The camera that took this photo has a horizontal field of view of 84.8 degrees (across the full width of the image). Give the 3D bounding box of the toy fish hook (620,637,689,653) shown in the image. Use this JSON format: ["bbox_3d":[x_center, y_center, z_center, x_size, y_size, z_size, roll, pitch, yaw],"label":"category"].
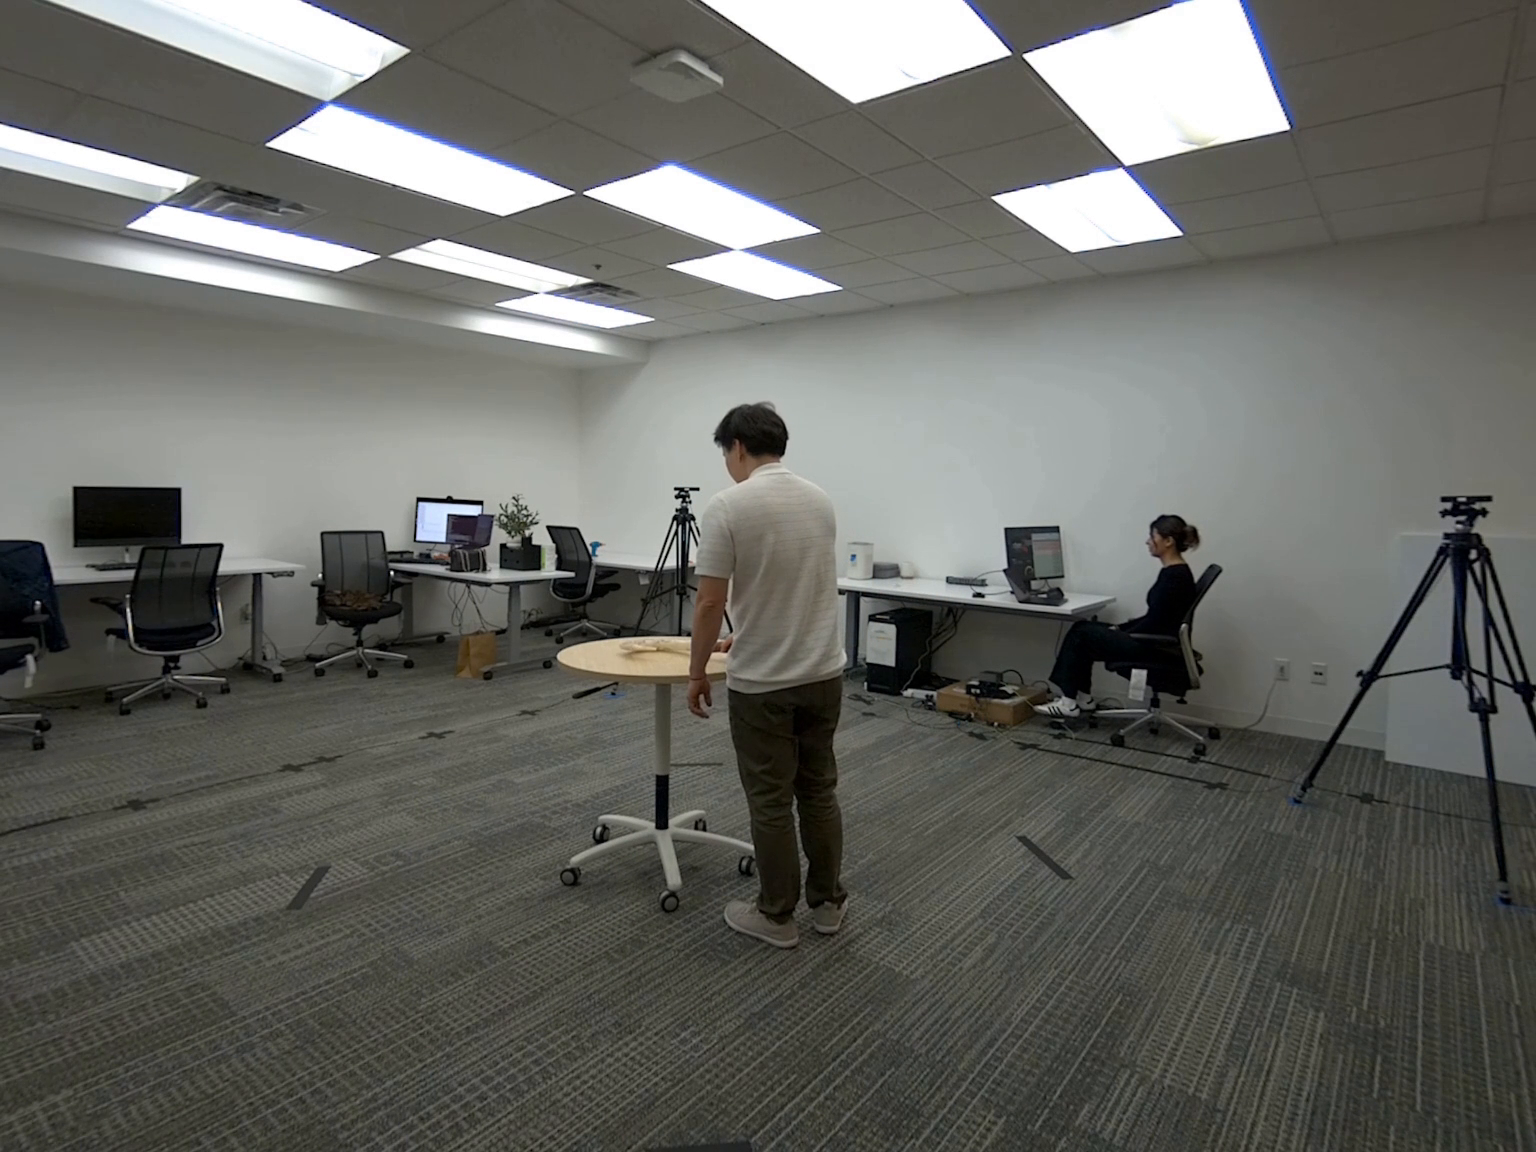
[{"bbox_3d":[-0.311,0.259,3.003,0.521,0.048,0.219,-1,5,31],"label":"toy fish hook"}]
